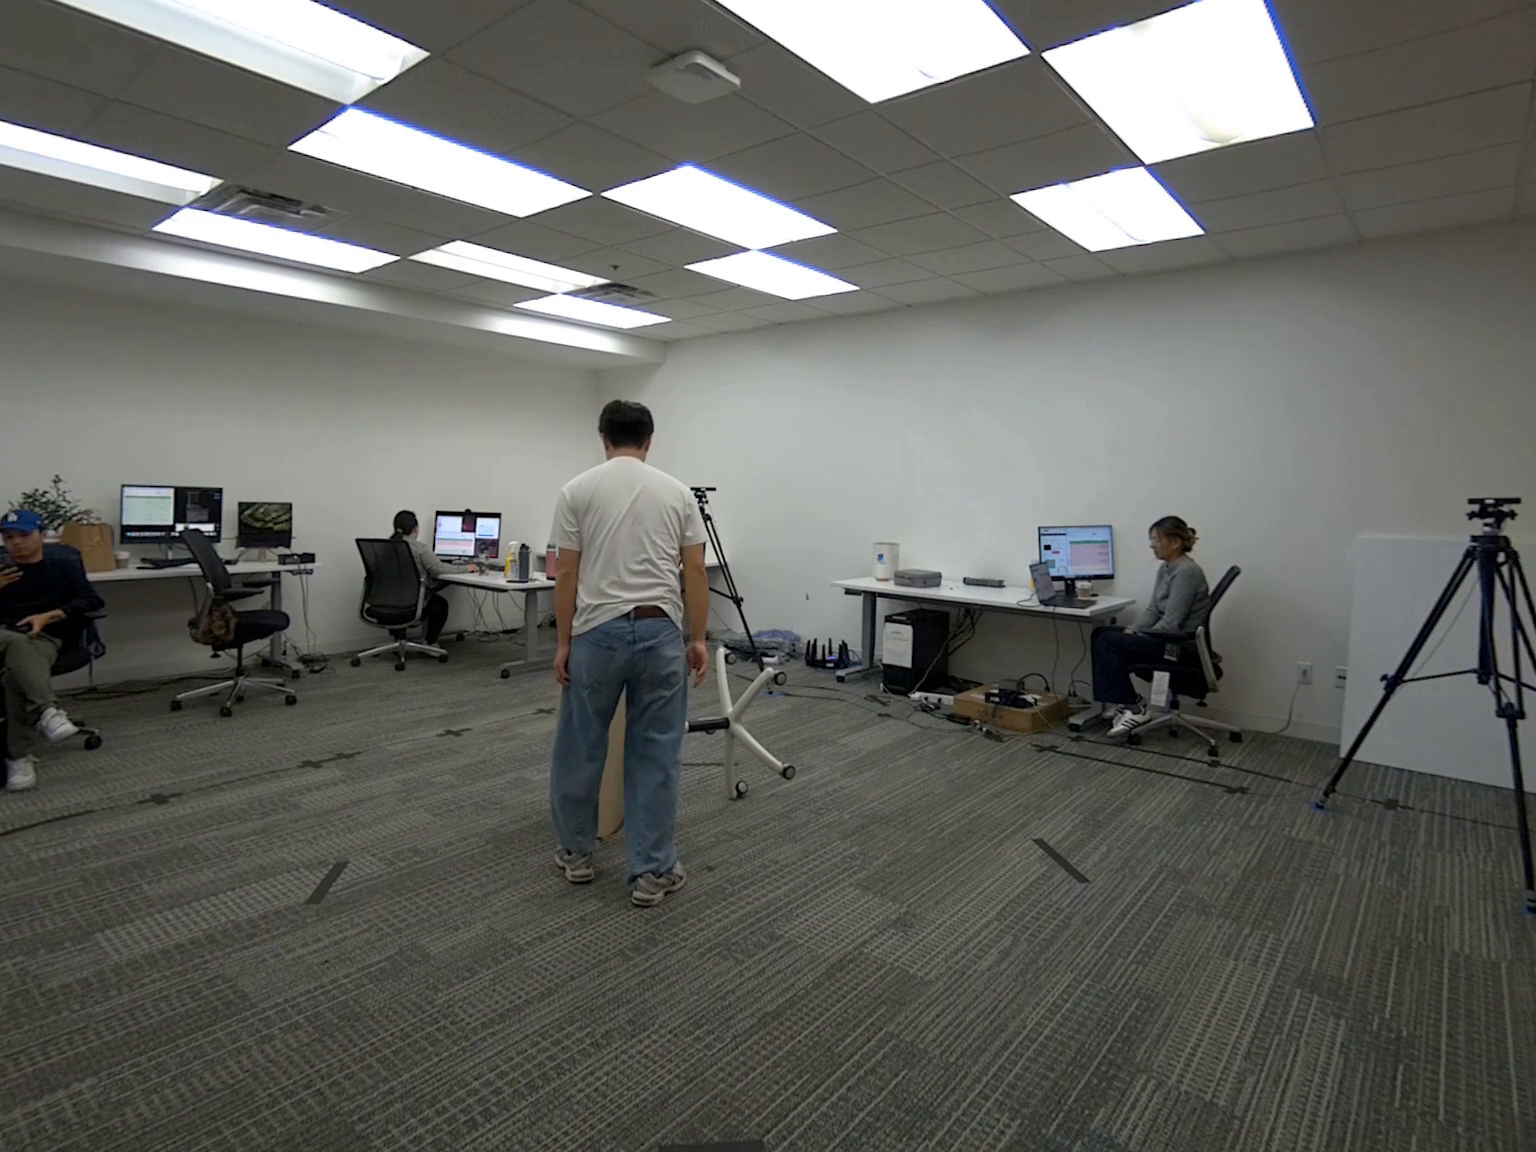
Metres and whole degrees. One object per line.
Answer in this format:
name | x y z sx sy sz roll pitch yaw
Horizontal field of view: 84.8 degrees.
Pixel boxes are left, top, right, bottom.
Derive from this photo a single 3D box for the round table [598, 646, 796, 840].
round table | -0.401 0.654 3.629 0.770 0.763 0.789 2 3 -34
